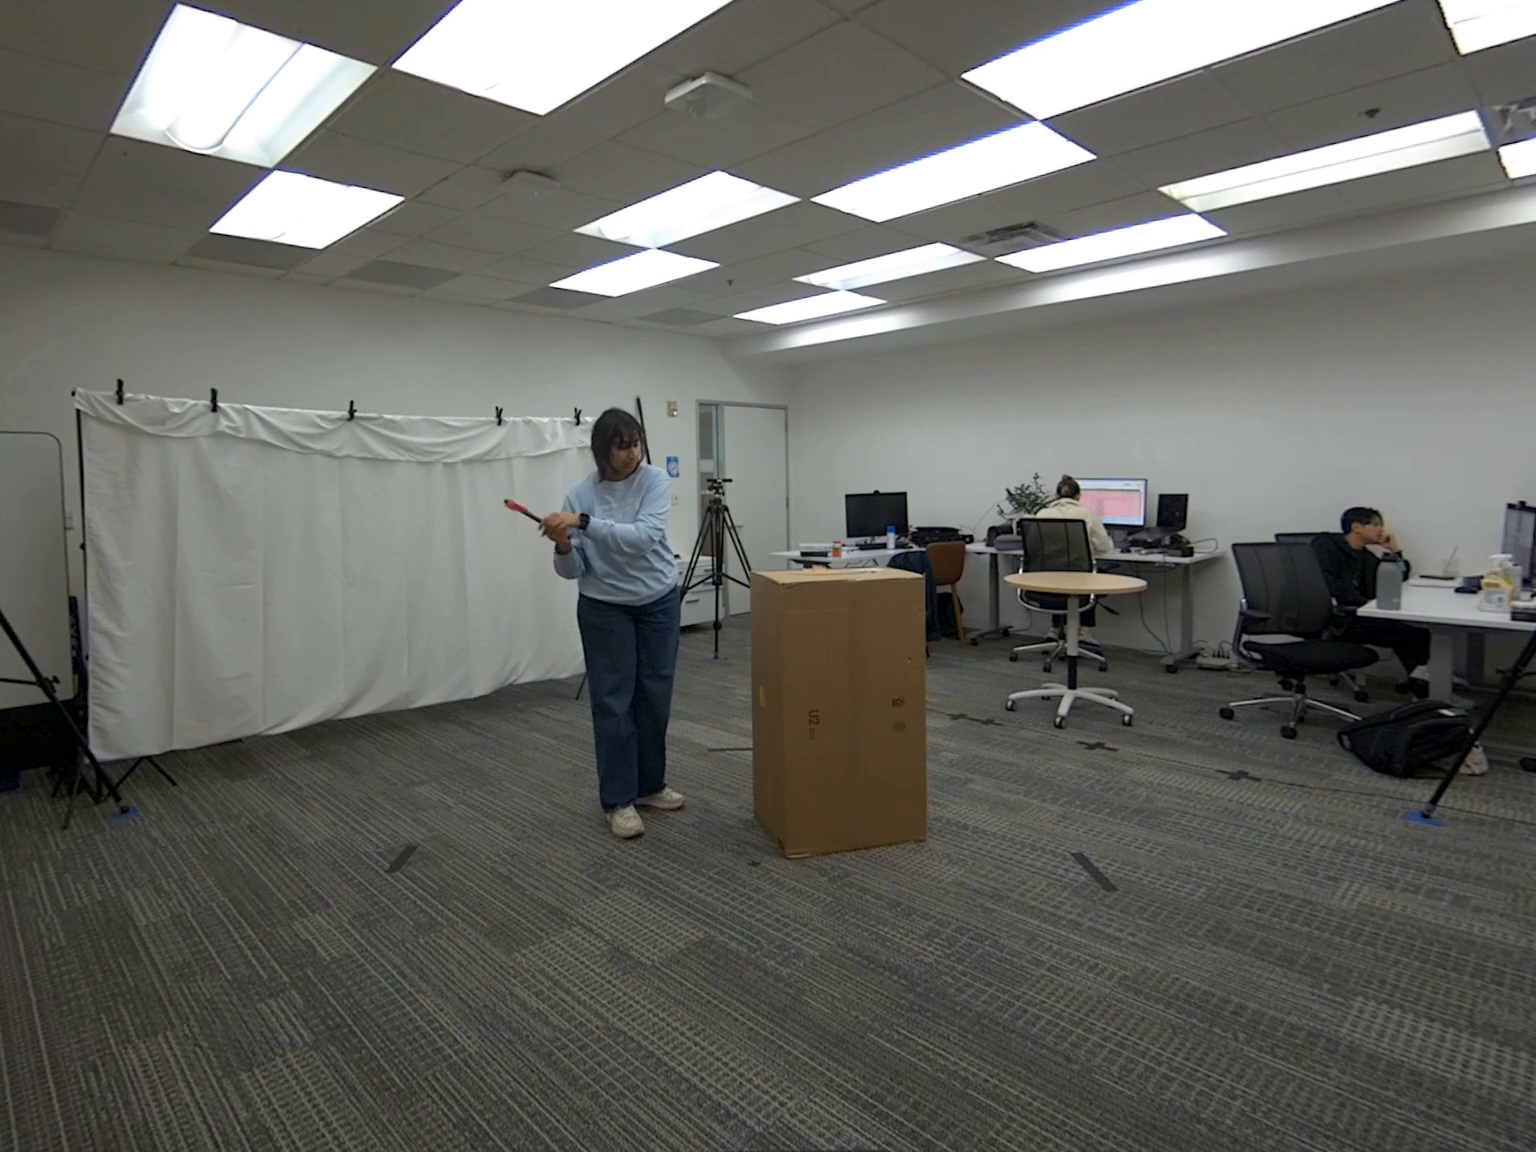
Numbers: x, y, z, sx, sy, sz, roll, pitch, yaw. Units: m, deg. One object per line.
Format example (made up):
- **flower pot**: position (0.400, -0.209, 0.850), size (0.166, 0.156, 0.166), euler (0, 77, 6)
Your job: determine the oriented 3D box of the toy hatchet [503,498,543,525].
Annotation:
- **toy hatchet**: position (-0.813, -0.211, 3.108), size (0.266, 0.030, 0.132), euler (25, -13, -11)
